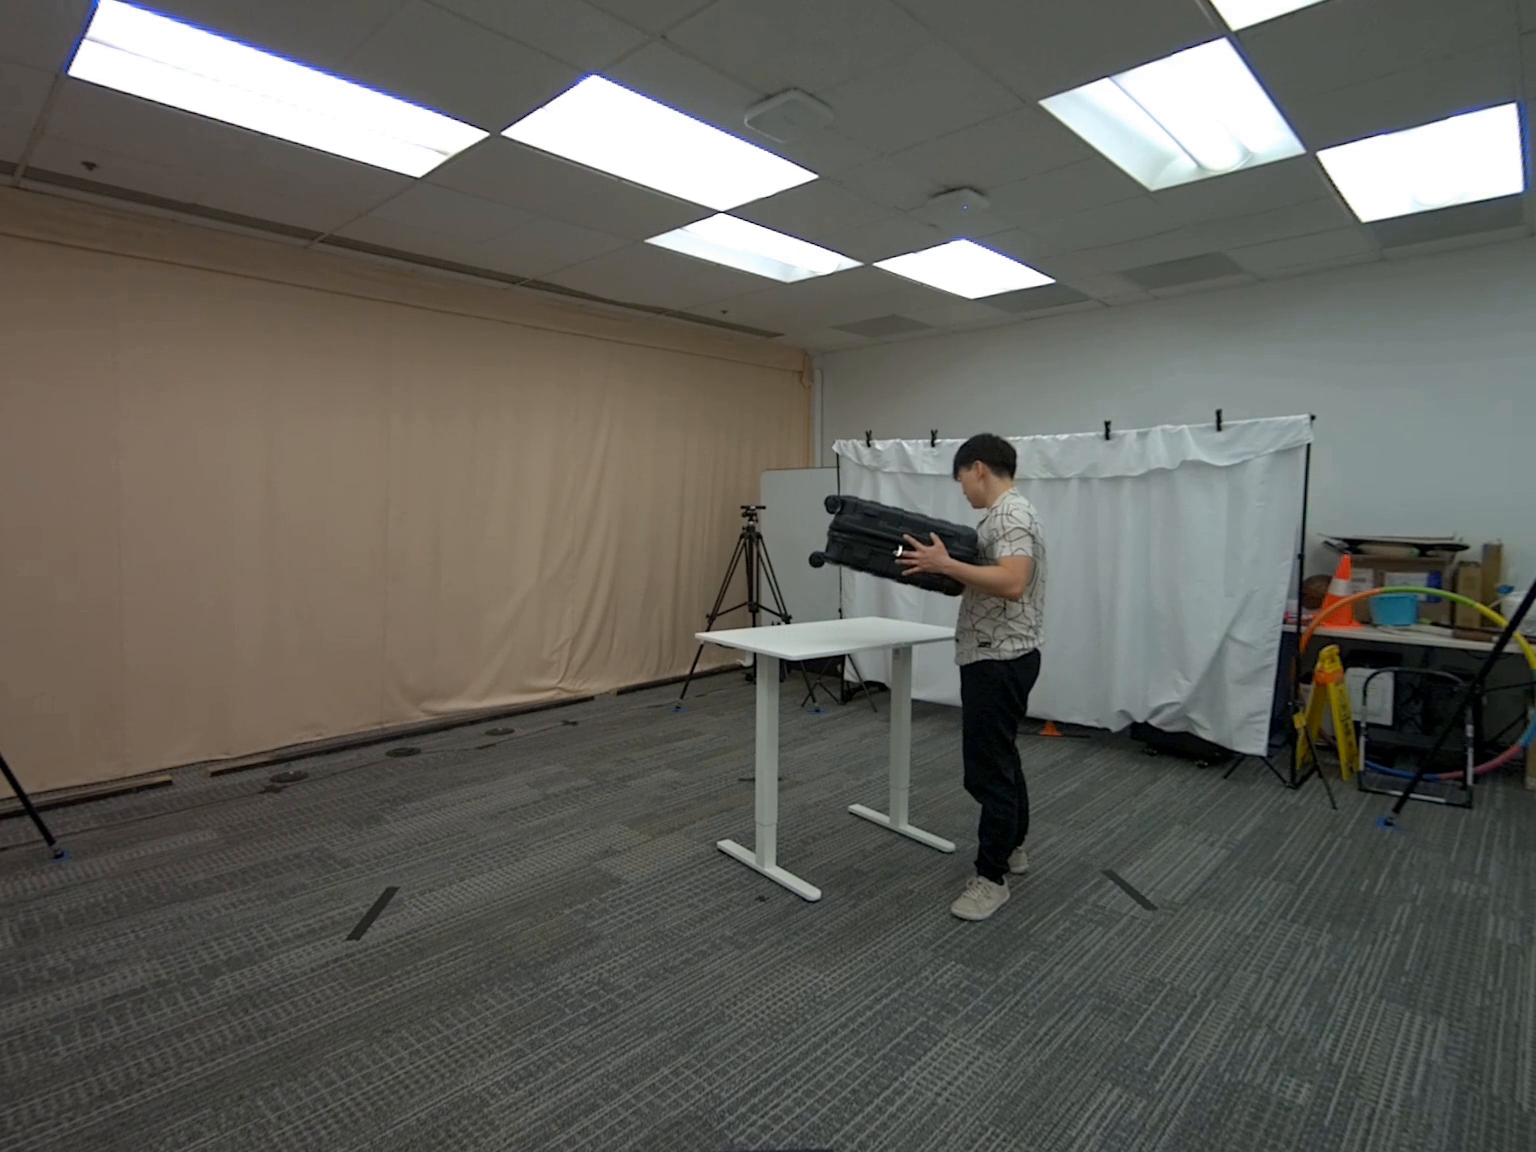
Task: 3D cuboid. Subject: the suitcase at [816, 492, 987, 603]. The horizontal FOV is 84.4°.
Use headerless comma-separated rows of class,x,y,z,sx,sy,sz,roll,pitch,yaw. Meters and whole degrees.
suitcase,0.469,-0.102,2.974,0.554,0.248,0.373,15,5,5
